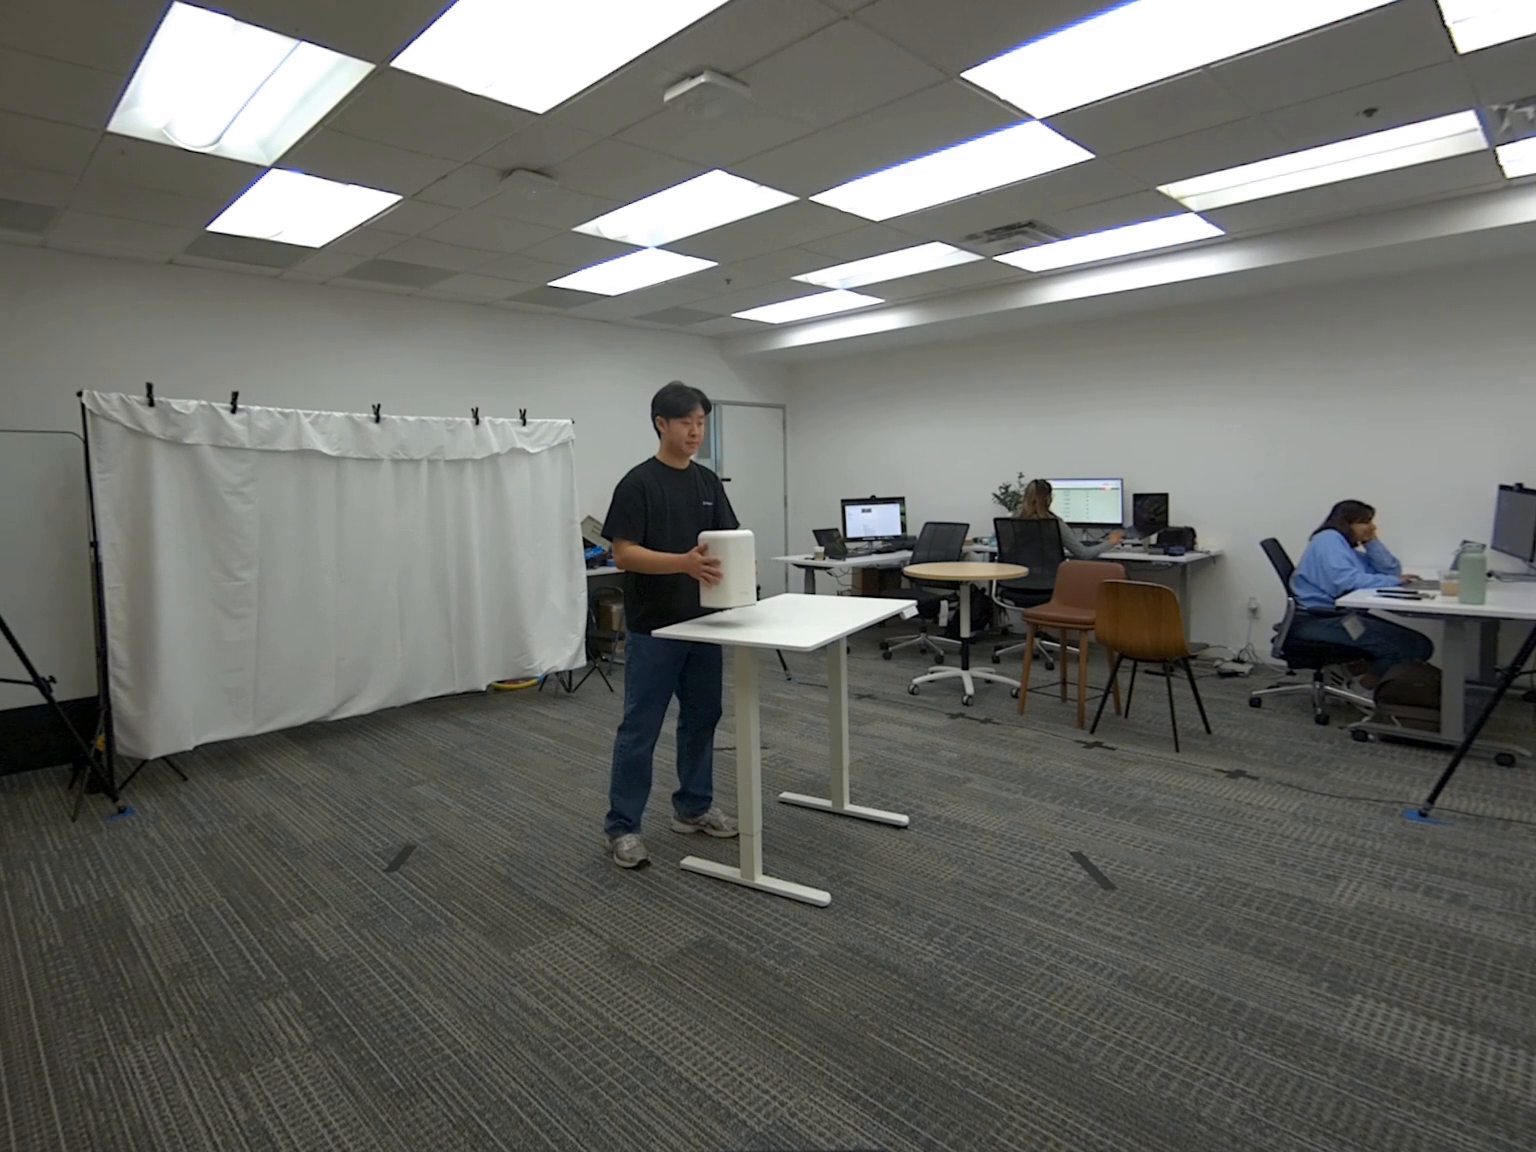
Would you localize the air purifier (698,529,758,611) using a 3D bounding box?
[{"bbox_3d":[-0.149,-0.027,3.015,0.176,0.265,0.166,0,2,44],"label":"air purifier"}]
